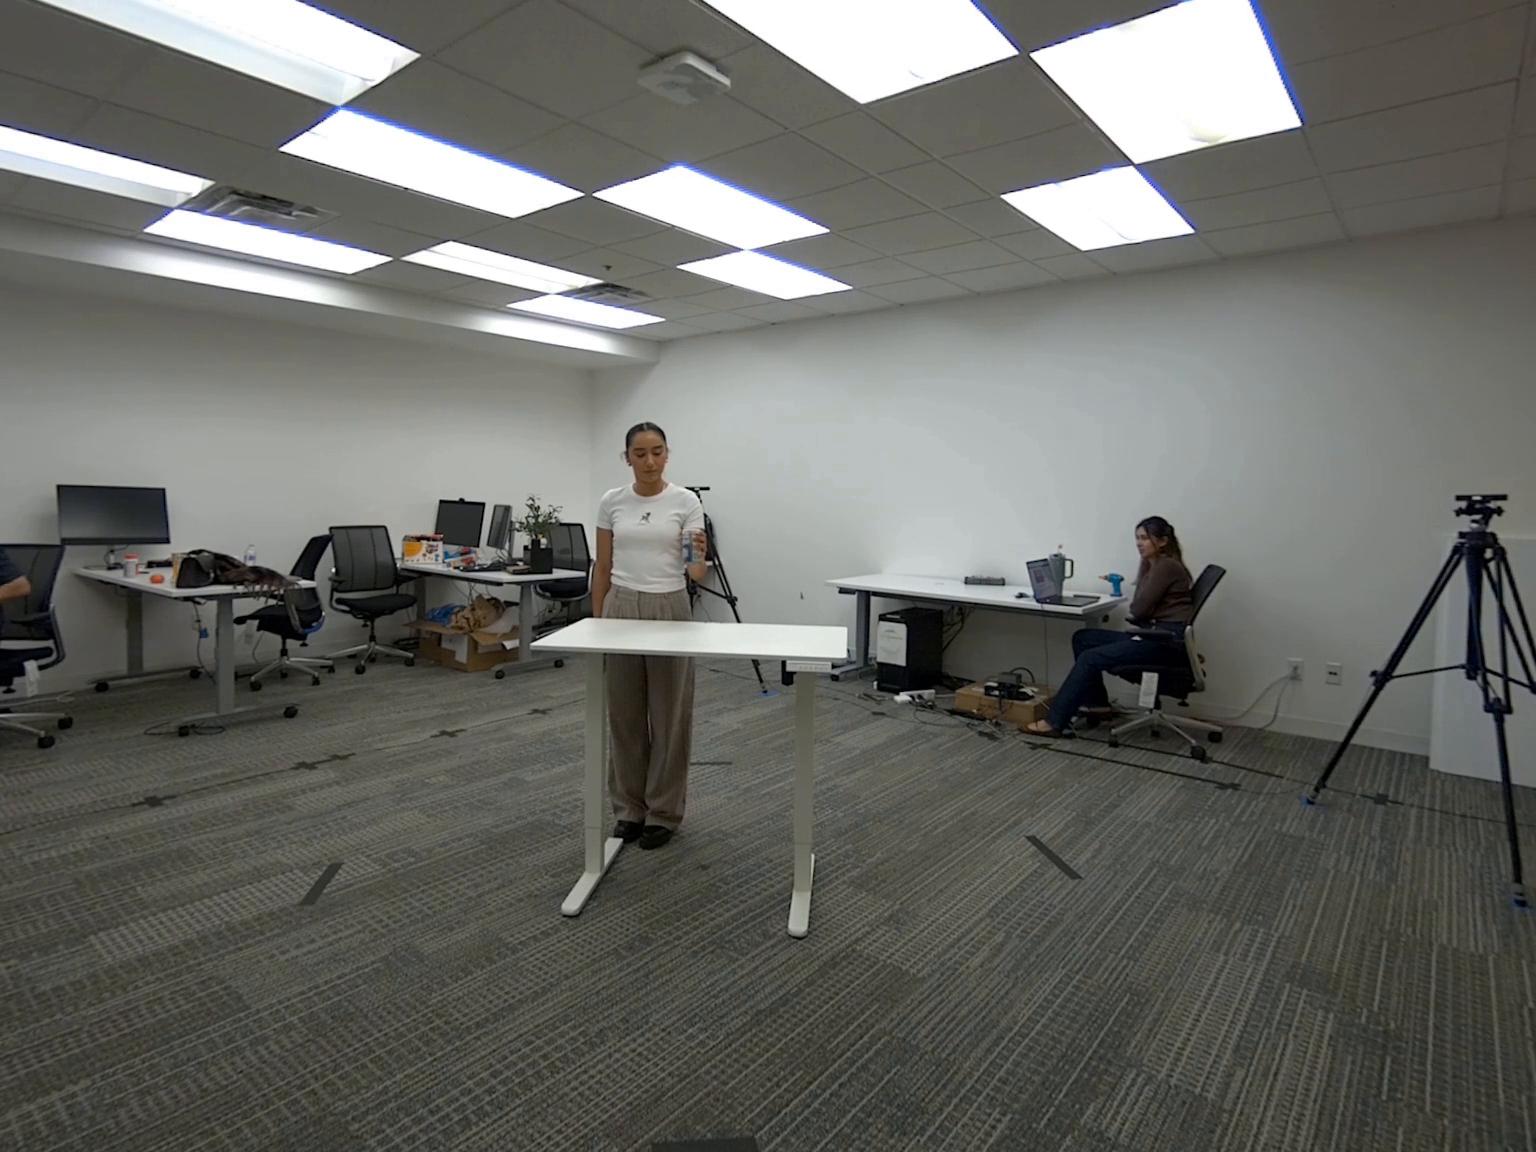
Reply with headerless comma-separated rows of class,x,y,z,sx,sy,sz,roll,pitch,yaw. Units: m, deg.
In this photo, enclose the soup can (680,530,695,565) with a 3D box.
soup can,-0.282,-0.110,2.979,0.067,0.122,0.067,-5,-2,-2
